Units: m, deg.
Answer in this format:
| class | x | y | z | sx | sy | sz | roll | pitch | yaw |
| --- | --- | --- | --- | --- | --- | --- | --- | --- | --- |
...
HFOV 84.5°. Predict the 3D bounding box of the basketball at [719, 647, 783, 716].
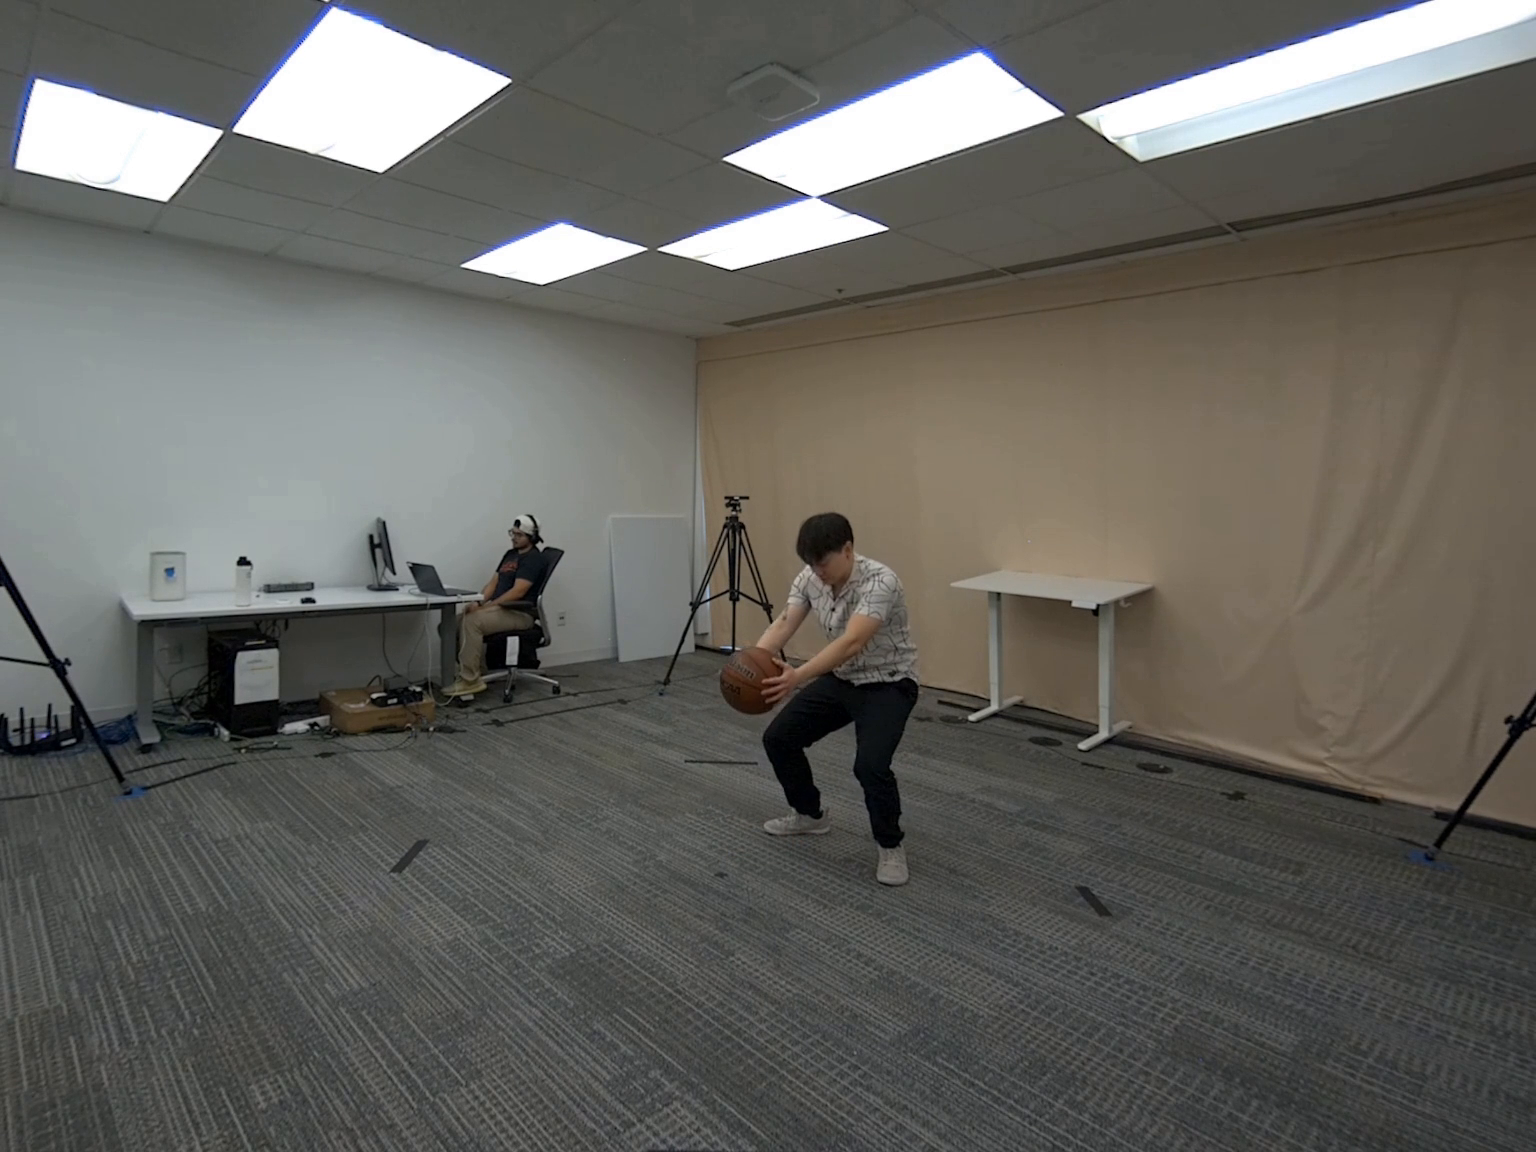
| class | x | y | z | sx | sy | sz | roll | pitch | yaw |
| --- | --- | --- | --- | --- | --- | --- | --- | --- | --- |
| basketball | -0.062 | 0.371 | 2.963 | 0.236 | 0.235 | 0.237 | 1 | 4 | -1 |
